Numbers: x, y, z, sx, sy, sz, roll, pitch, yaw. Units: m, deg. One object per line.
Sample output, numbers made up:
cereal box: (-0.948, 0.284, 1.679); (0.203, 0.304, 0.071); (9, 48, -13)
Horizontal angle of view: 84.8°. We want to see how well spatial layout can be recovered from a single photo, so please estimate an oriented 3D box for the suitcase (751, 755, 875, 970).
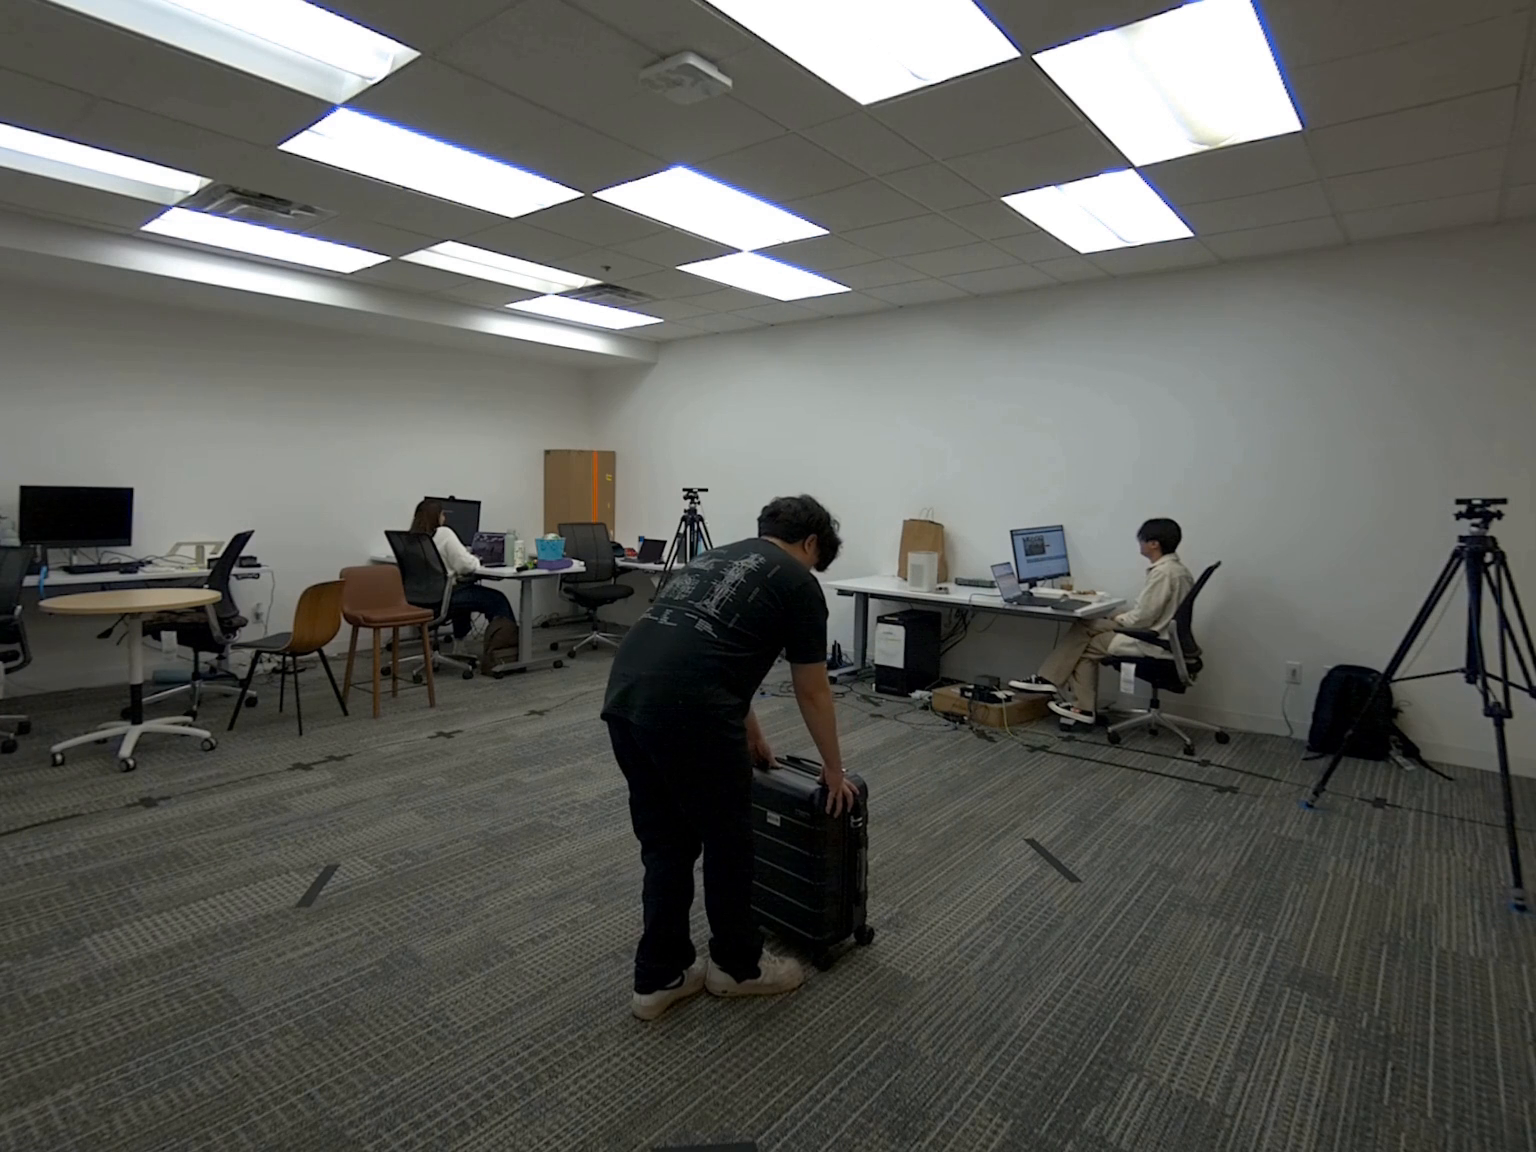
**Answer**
suitcase: (0.107, 0.850, 2.626); (0.388, 0.546, 0.241); (5, 7, 43)
